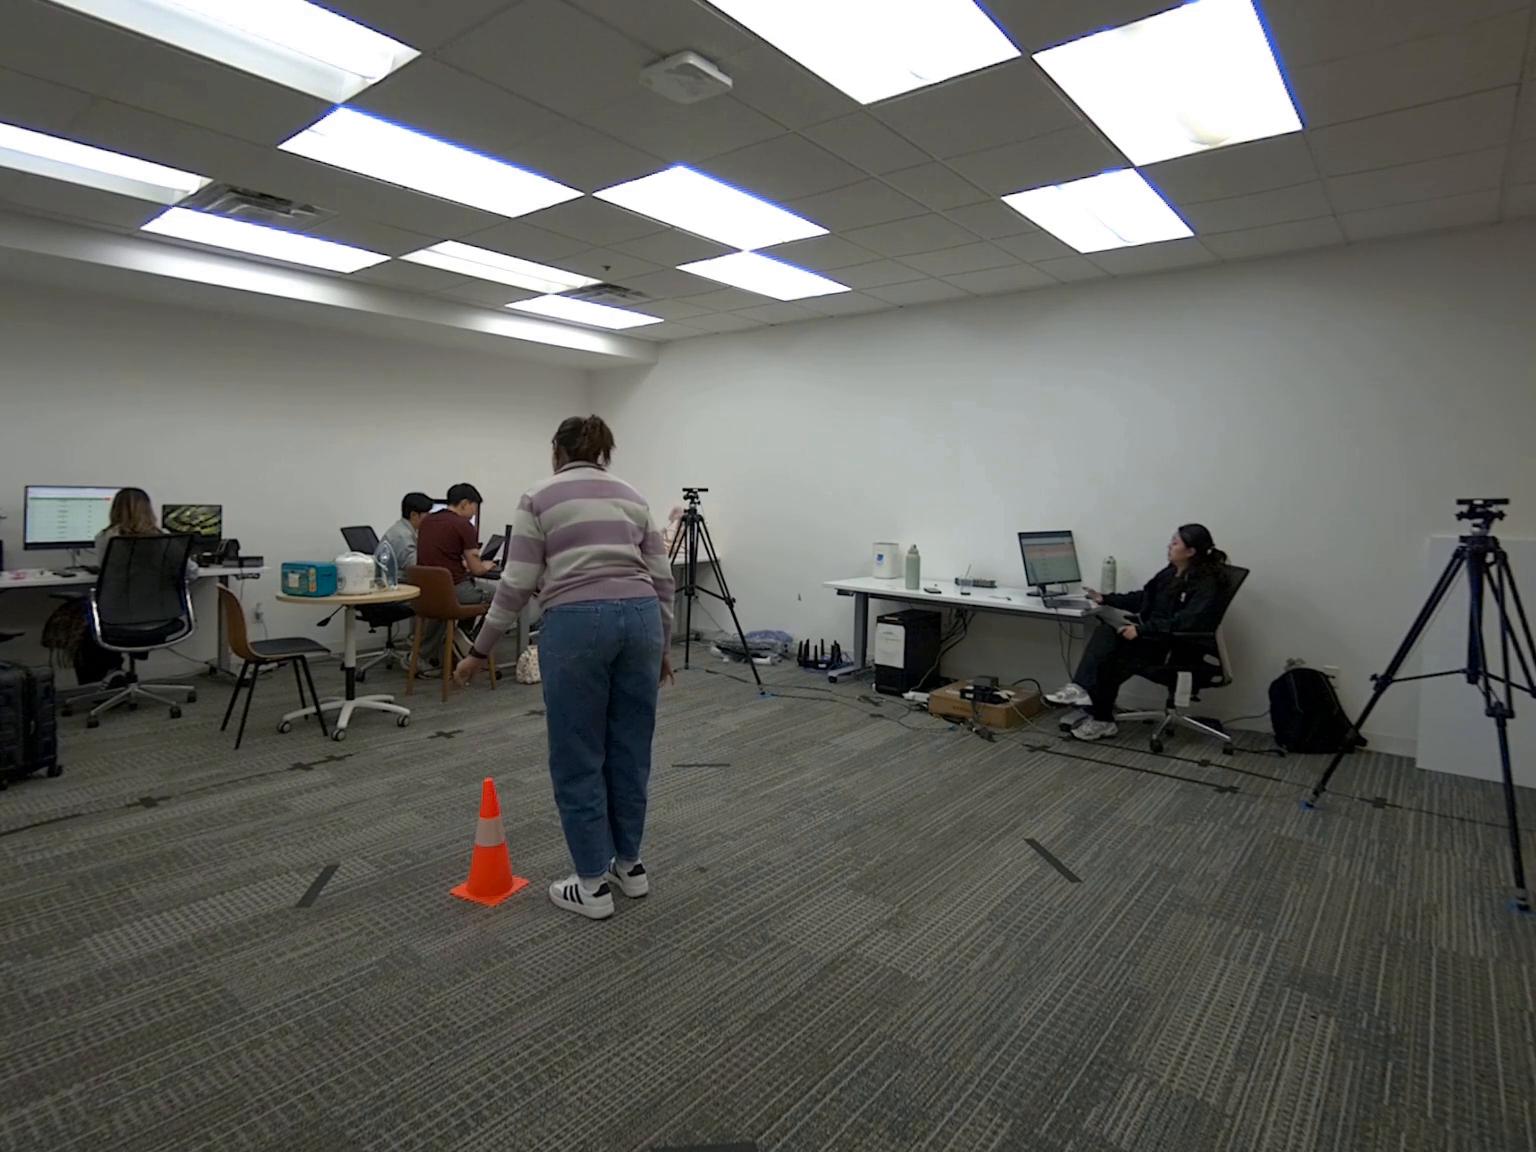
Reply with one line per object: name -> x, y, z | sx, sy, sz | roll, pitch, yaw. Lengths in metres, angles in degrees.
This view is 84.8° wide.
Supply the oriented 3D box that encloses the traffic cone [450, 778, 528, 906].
traffic cone -> -0.968, 0.894, 2.926 | 0.211, 0.382, 0.199 | 3, 5, 27
